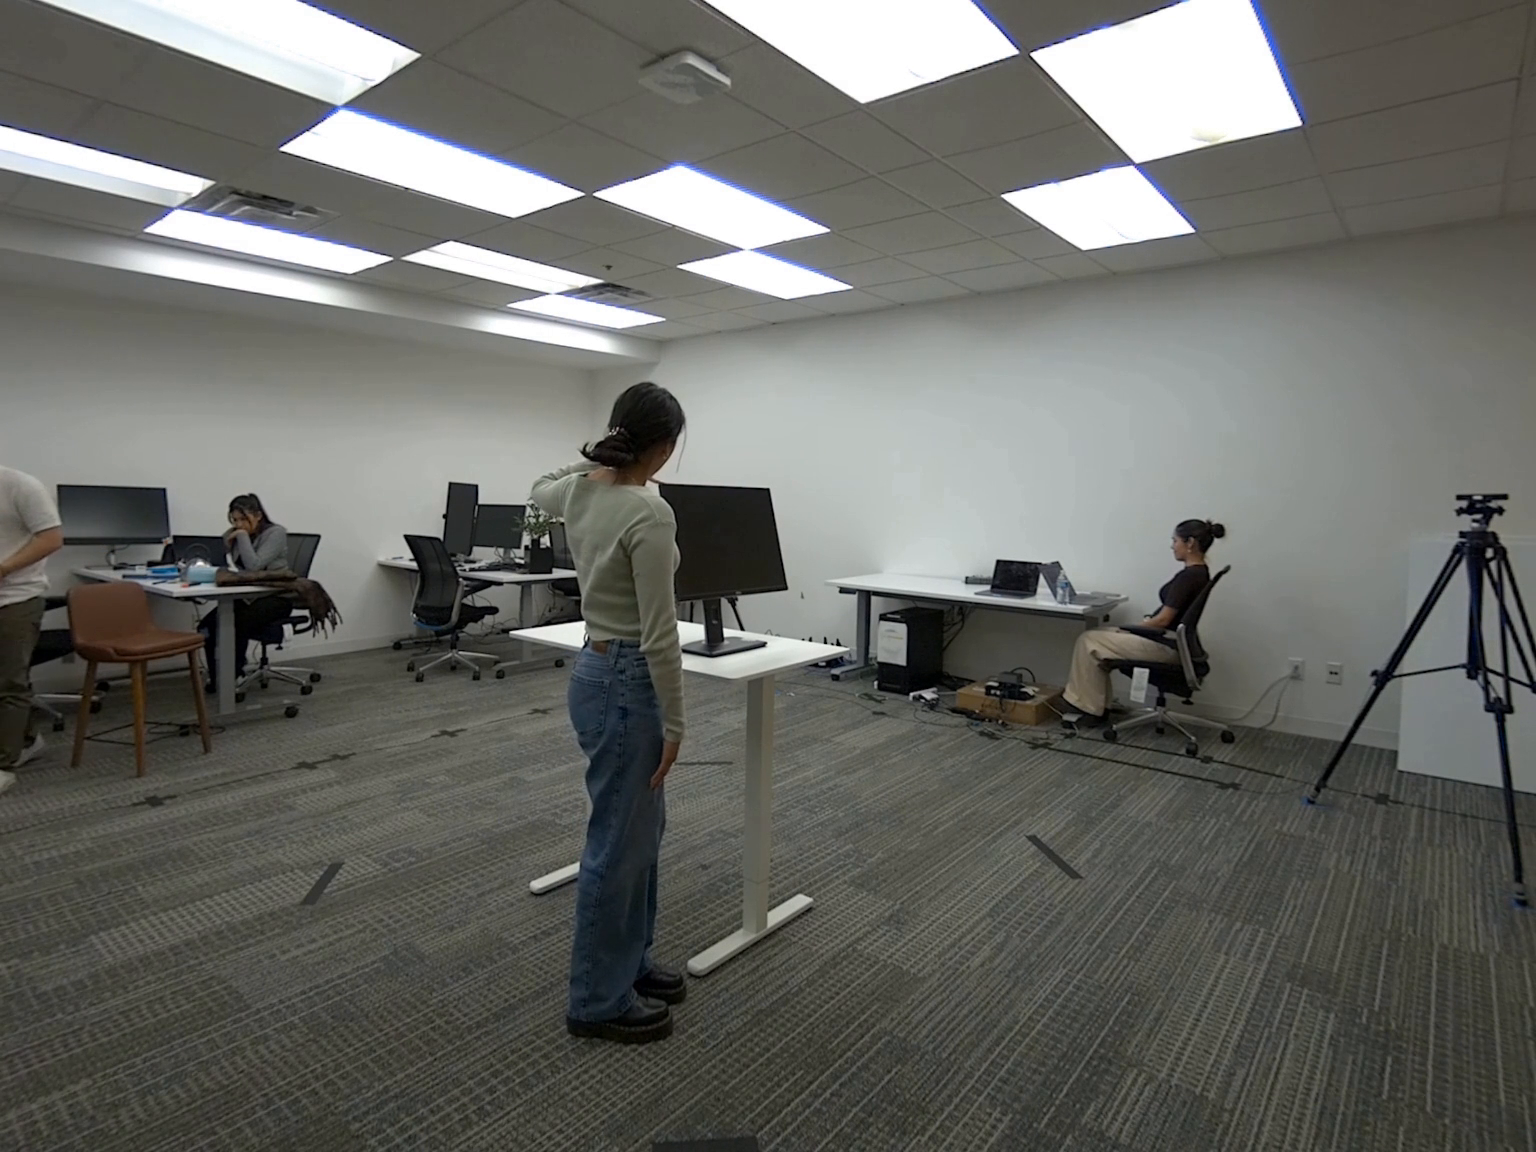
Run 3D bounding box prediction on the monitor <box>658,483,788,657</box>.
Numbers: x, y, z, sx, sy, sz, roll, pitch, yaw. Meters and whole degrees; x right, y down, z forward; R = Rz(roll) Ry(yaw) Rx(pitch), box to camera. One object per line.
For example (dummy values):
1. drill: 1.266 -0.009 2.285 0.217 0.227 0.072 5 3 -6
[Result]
1. monitor: -0.165 -0.024 2.696 0.193 0.522 0.523 -1 2 38
